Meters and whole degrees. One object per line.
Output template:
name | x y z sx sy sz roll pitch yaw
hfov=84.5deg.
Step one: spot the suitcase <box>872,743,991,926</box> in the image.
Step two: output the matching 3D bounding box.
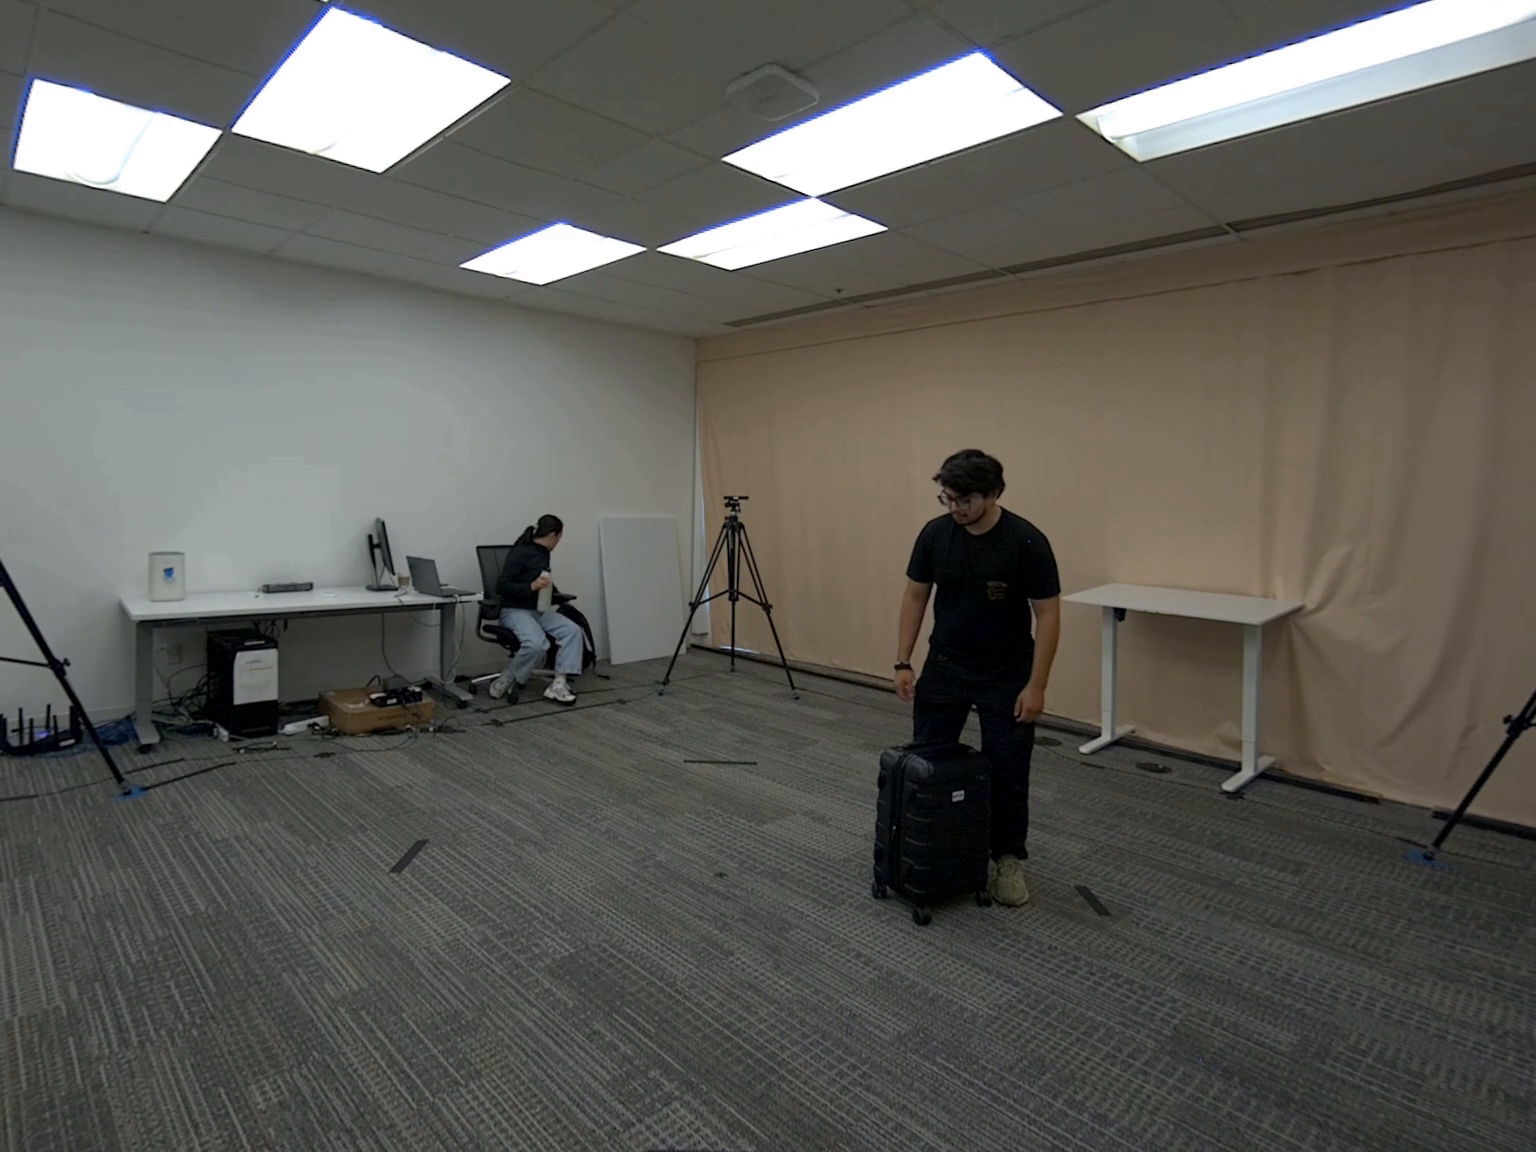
suitcase | 0.575 0.862 2.941 0.367 0.548 0.254 1 2 -33
